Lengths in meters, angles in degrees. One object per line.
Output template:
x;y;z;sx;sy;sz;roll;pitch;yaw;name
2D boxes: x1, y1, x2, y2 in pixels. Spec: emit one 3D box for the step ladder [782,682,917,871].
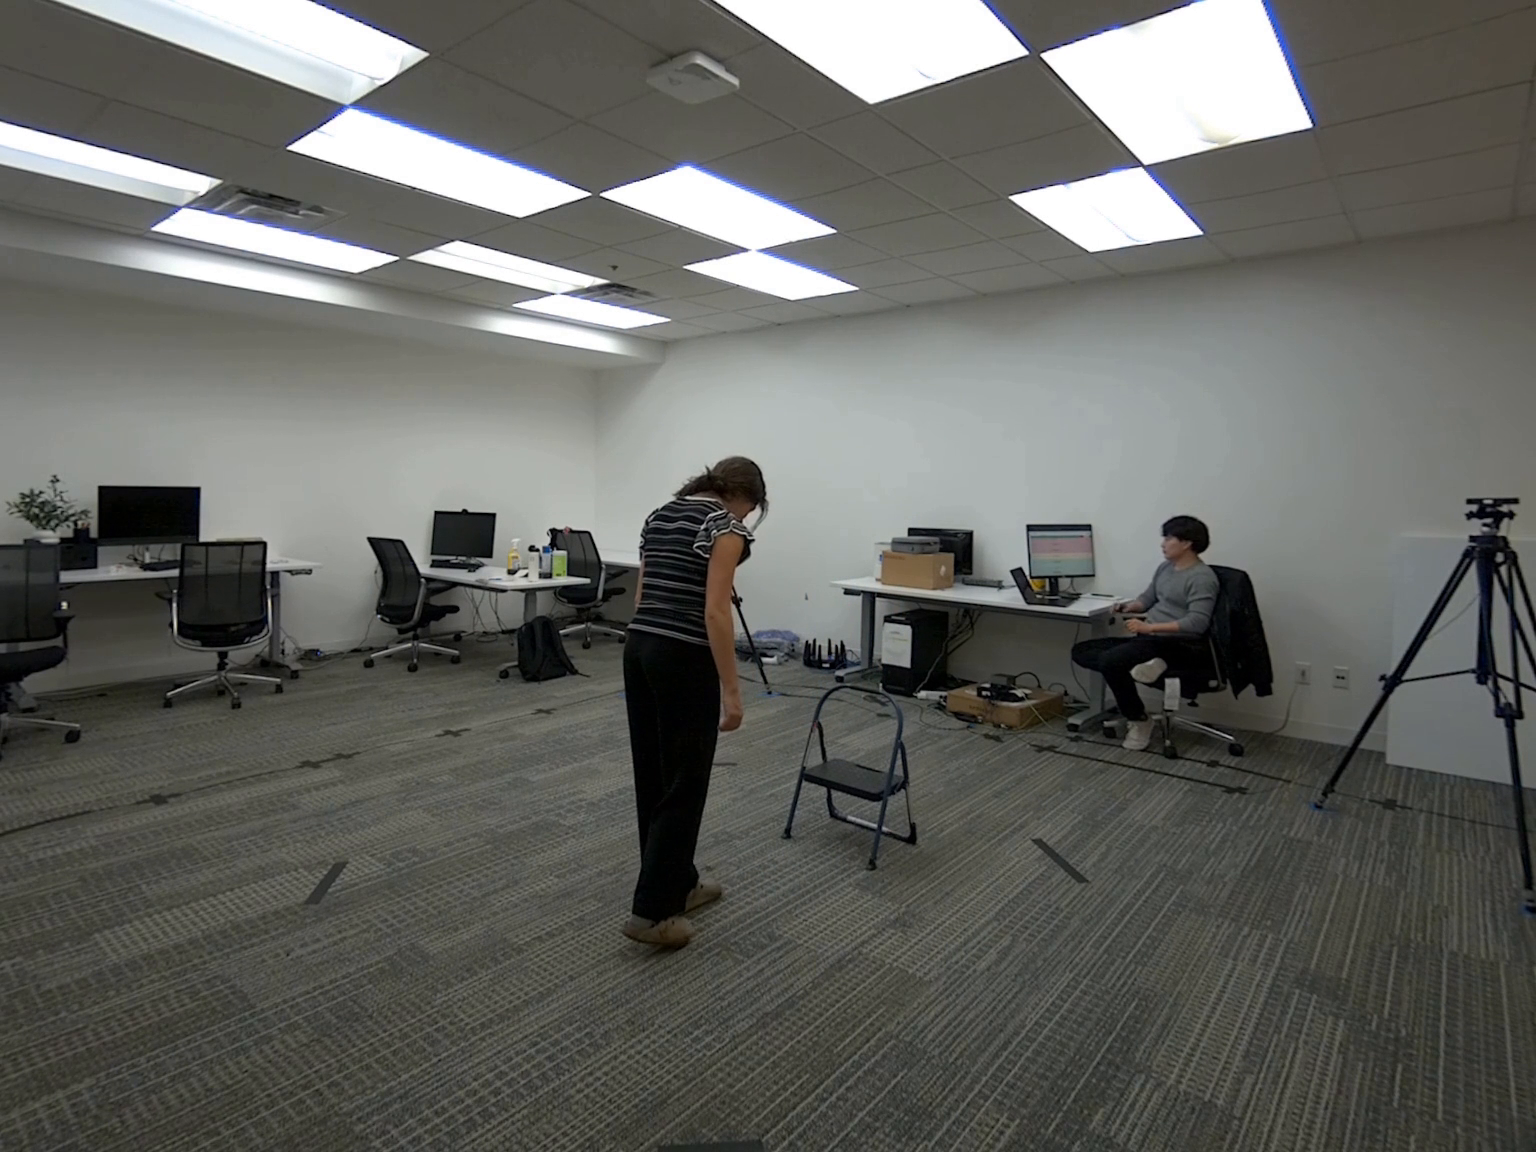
0.327;0.751;3.376;0.445;0.604;0.339;5;5;40;step ladder
